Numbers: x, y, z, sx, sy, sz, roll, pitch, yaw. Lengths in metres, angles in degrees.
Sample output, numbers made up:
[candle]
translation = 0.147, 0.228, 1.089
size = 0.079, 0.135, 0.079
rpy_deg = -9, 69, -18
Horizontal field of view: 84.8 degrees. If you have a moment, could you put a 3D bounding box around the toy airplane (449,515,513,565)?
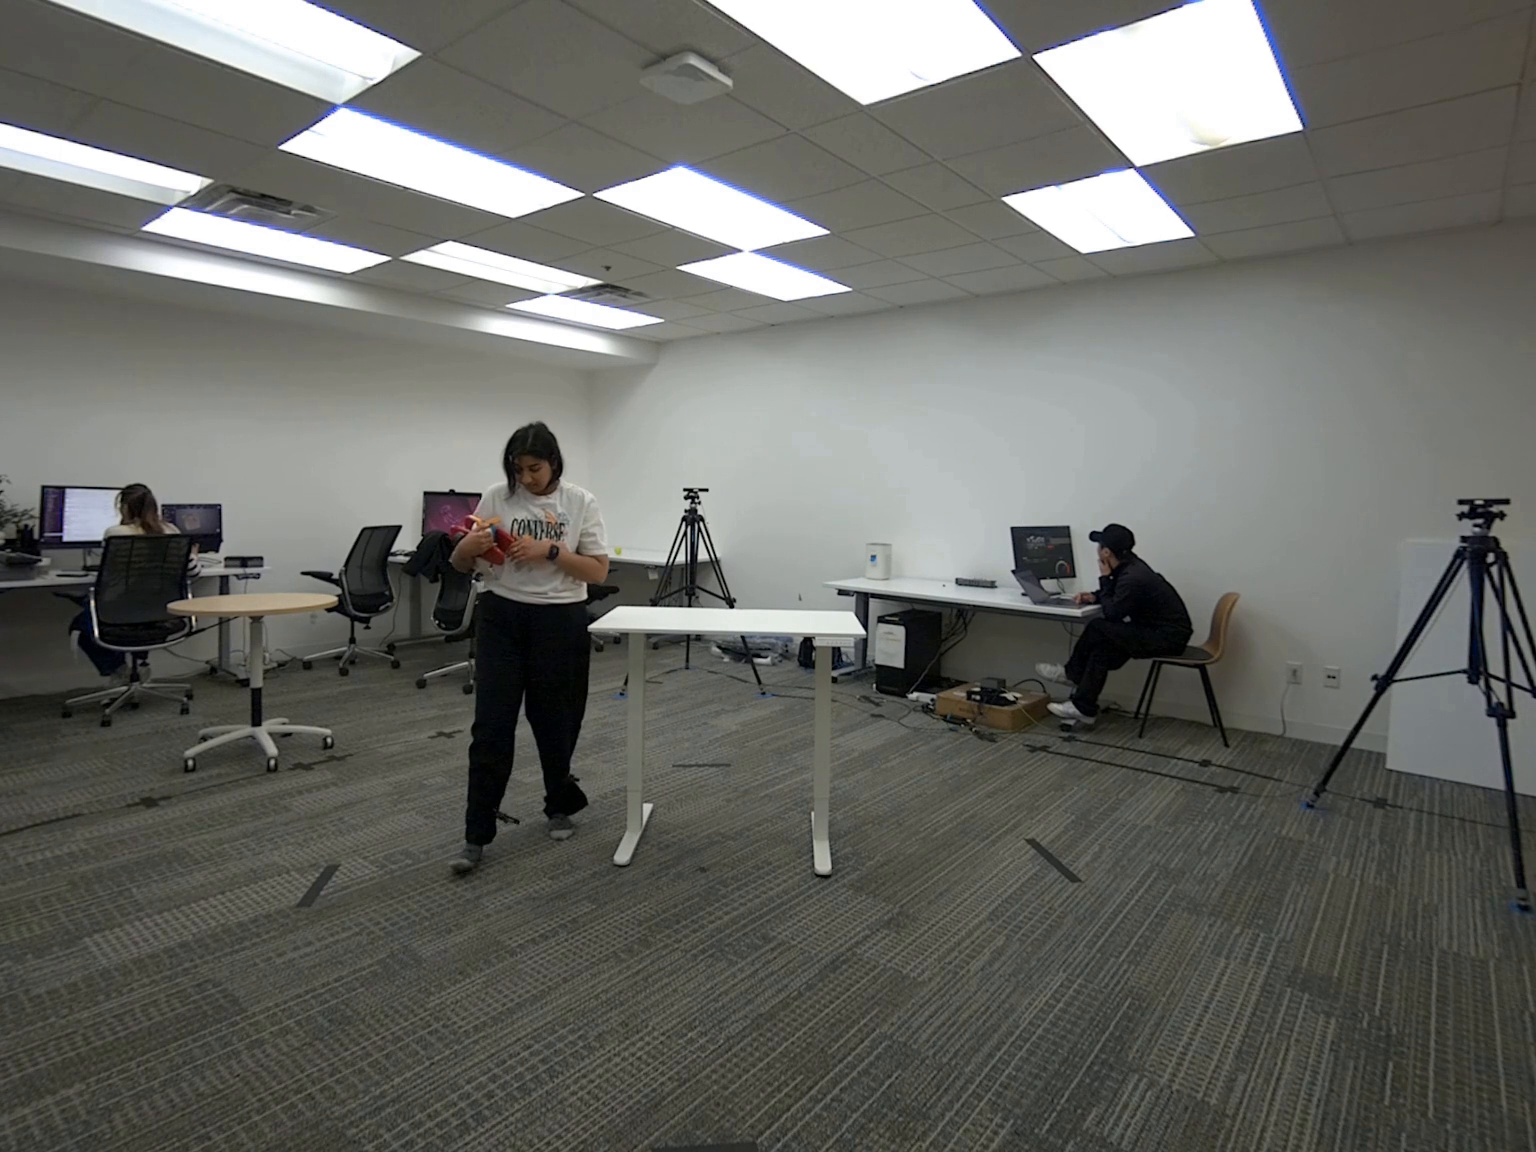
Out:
[toy airplane]
translation = -1.106, -0.115, 3.197
size = 0.157, 0.249, 0.261
rpy_deg = -52, 8, -34
